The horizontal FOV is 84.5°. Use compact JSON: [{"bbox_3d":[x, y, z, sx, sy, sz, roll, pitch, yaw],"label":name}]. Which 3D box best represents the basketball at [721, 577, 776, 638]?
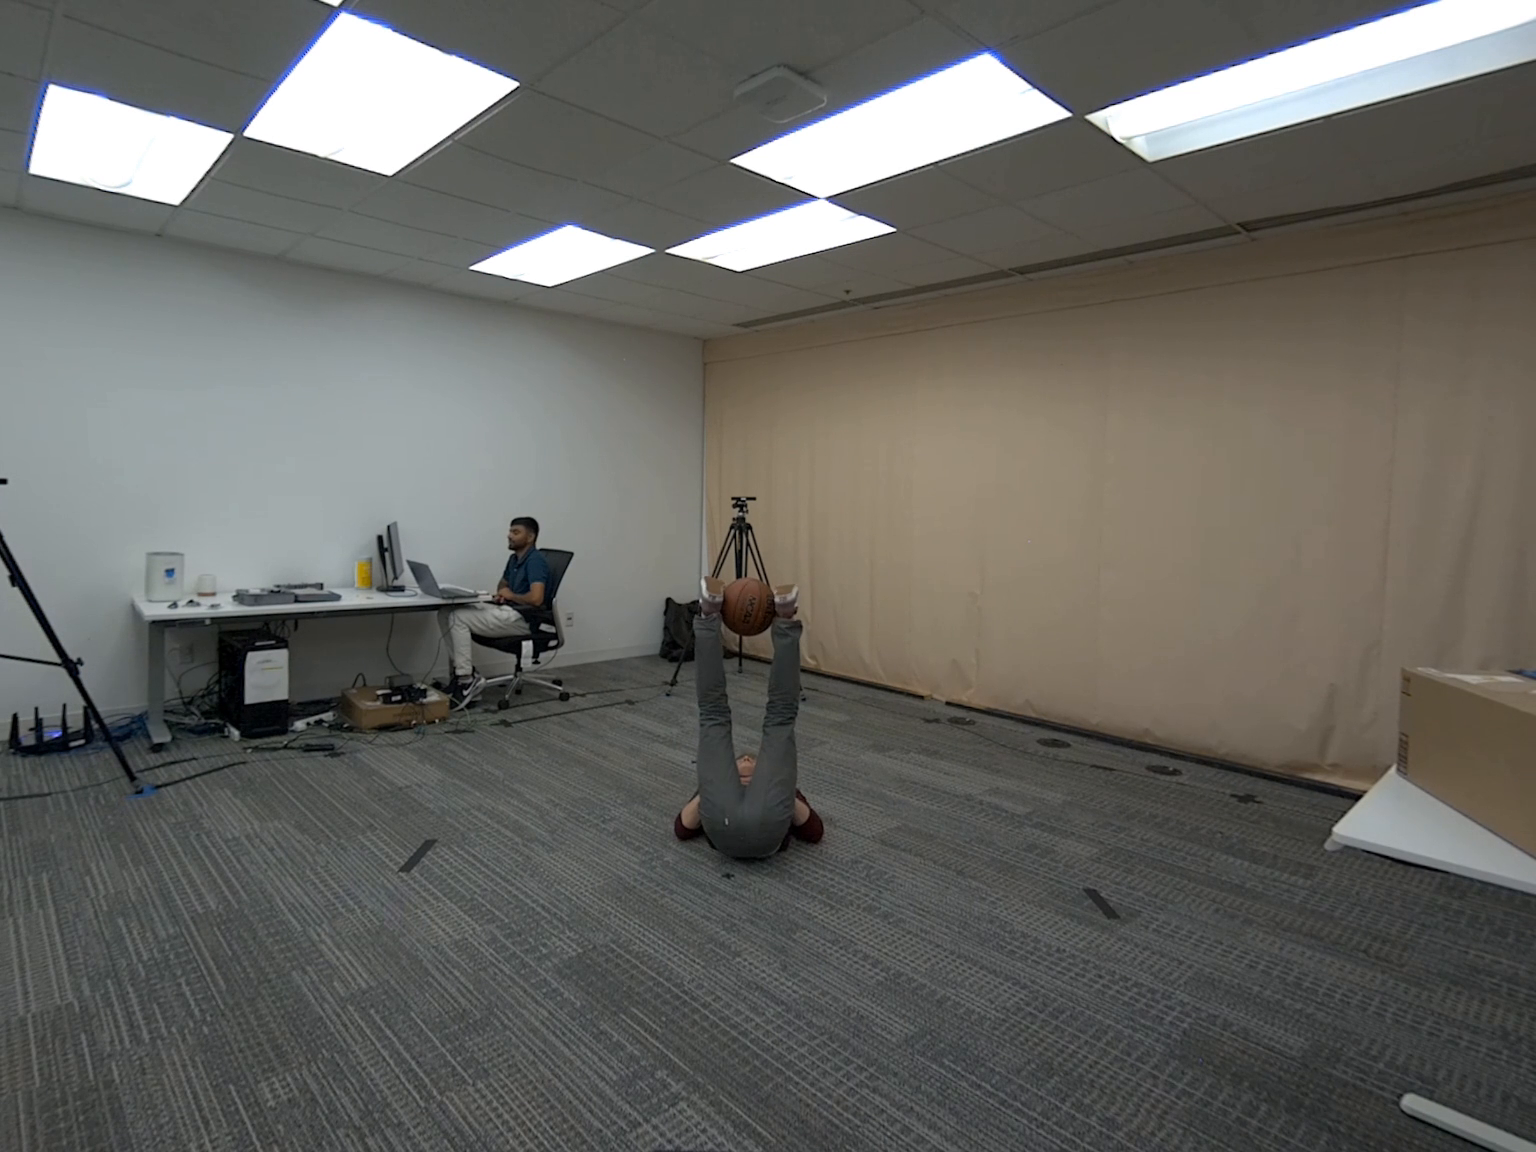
[{"bbox_3d":[-0.095,0.125,3.418,0.236,0.234,0.237,0,7,-1],"label":"basketball"}]
